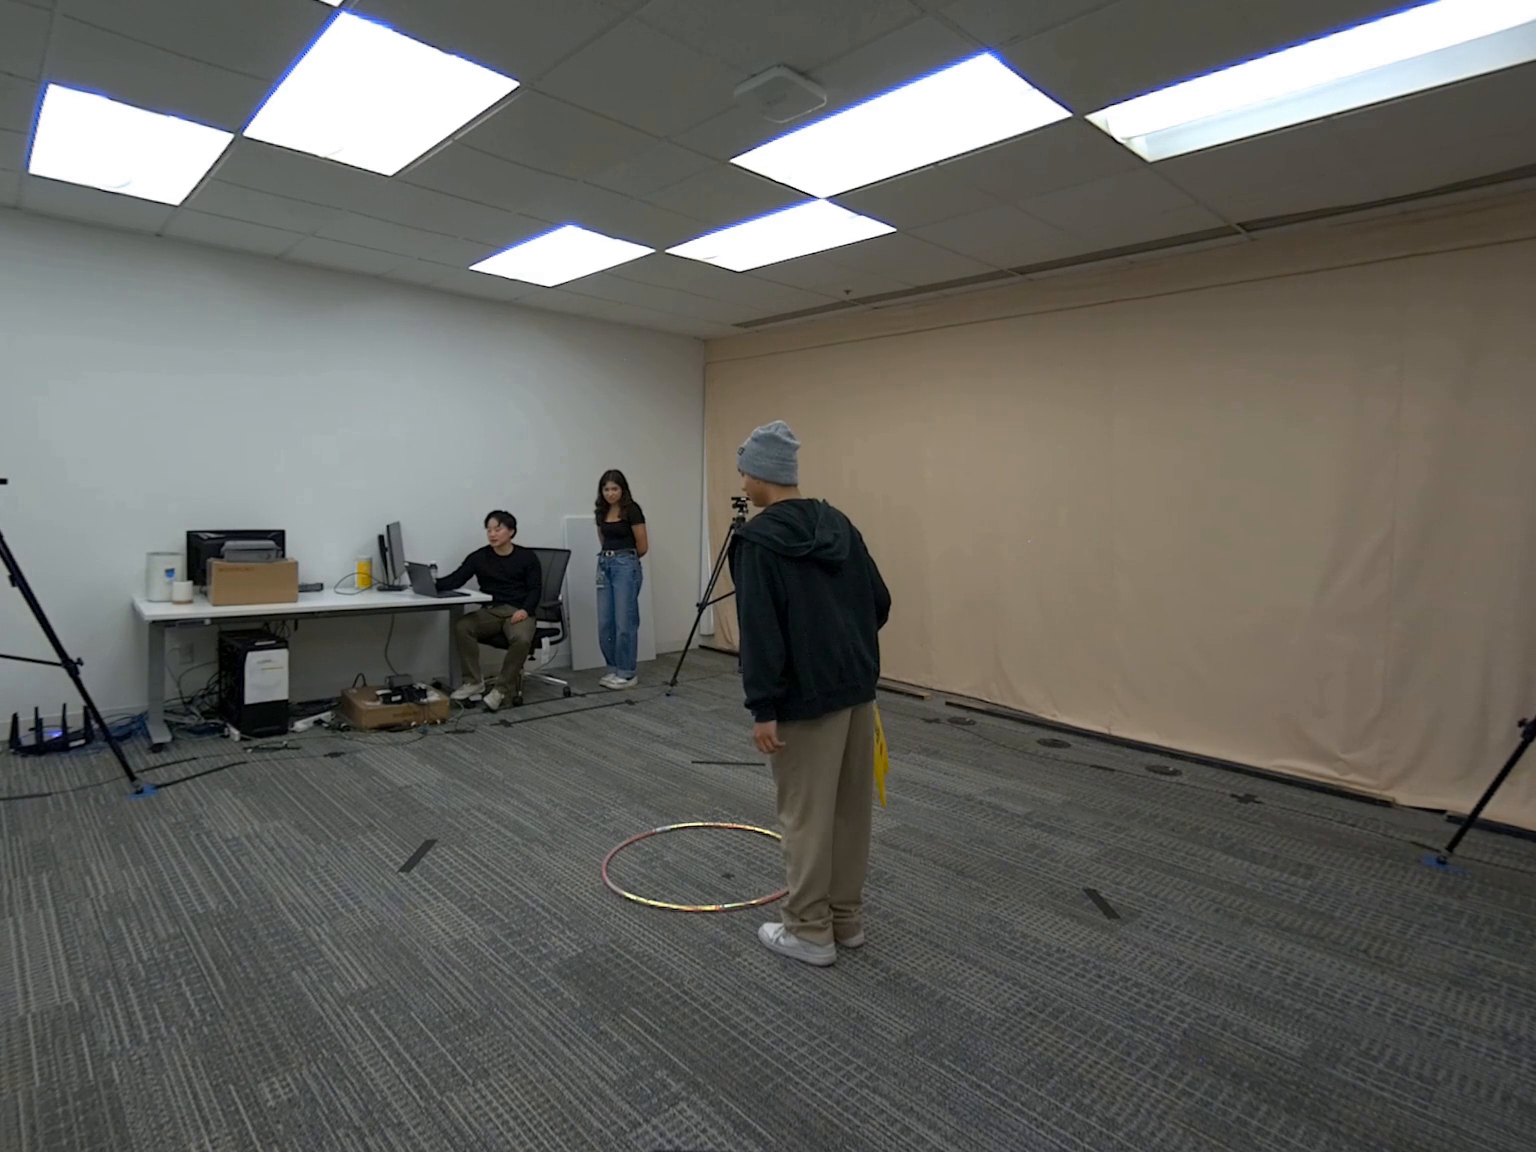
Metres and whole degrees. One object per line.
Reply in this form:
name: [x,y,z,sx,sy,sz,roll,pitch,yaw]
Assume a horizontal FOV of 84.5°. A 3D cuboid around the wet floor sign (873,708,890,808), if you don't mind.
wet floor sign: [0.300,0.499,3.093,0.292,0.635,0.284,-1,22,11]
